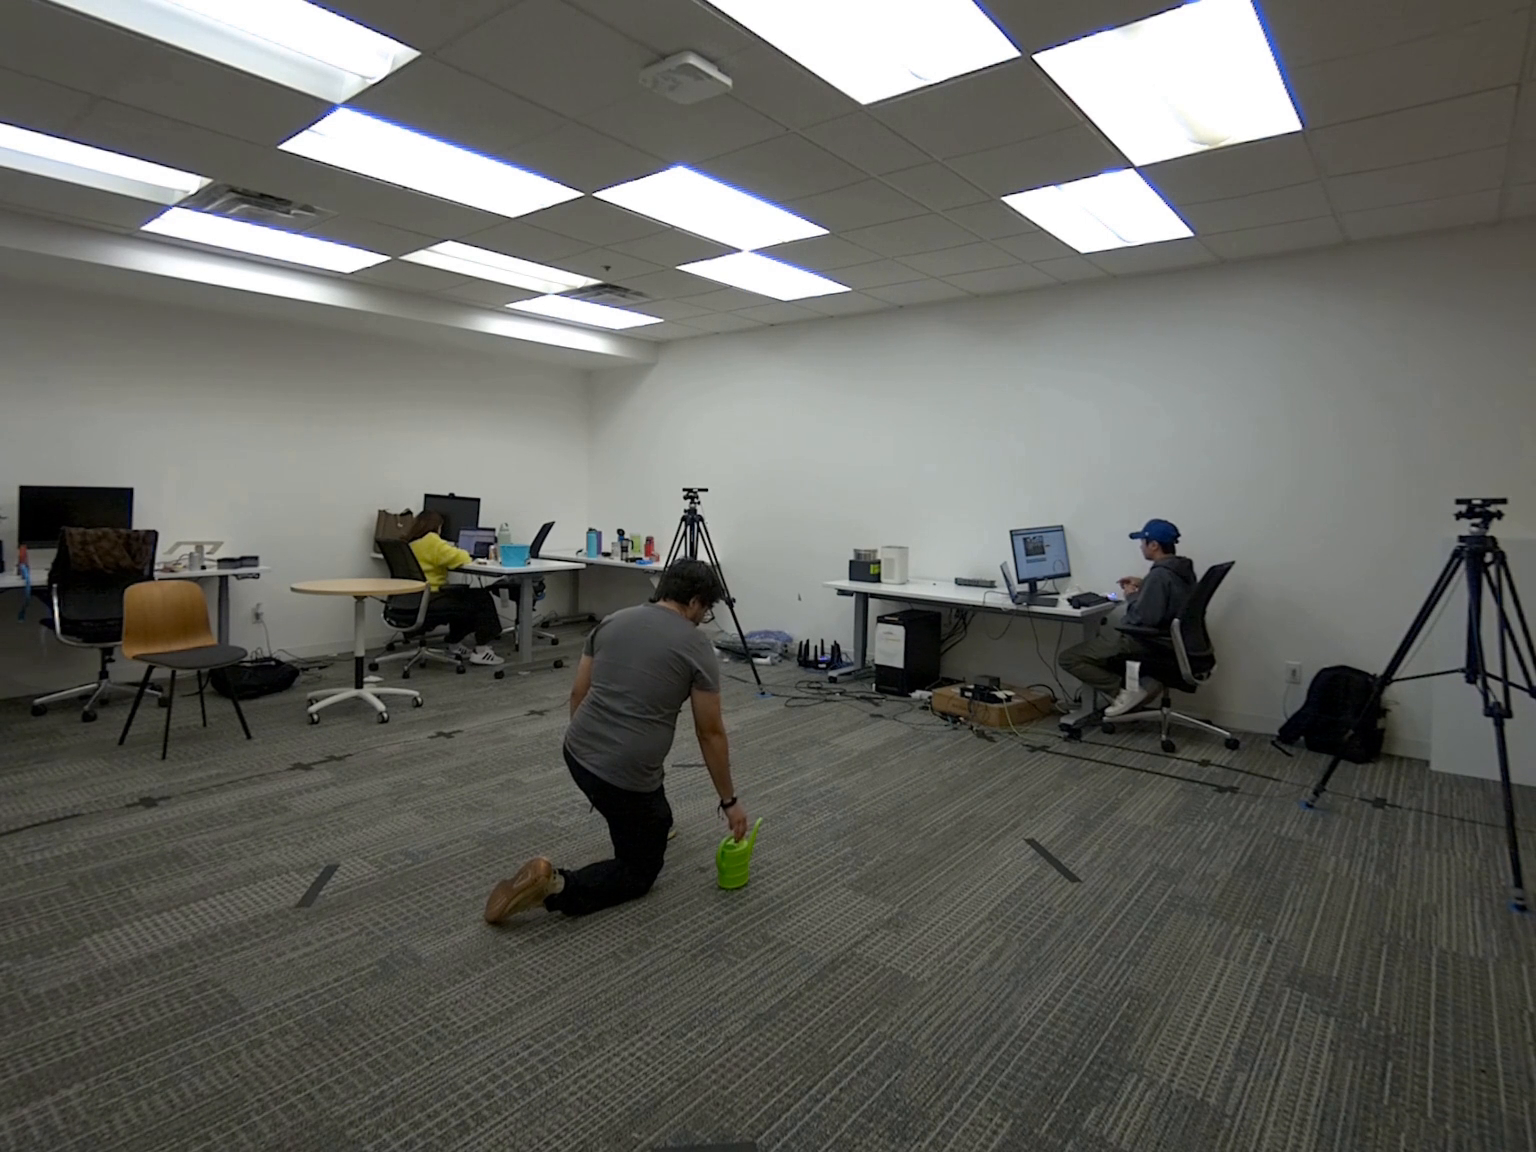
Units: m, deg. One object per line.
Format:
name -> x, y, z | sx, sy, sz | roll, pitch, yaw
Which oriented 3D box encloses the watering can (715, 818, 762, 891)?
watering can -> -0.096, 0.993, 3.025 | 0.270, 0.176, 0.101 | -4, 7, -39
